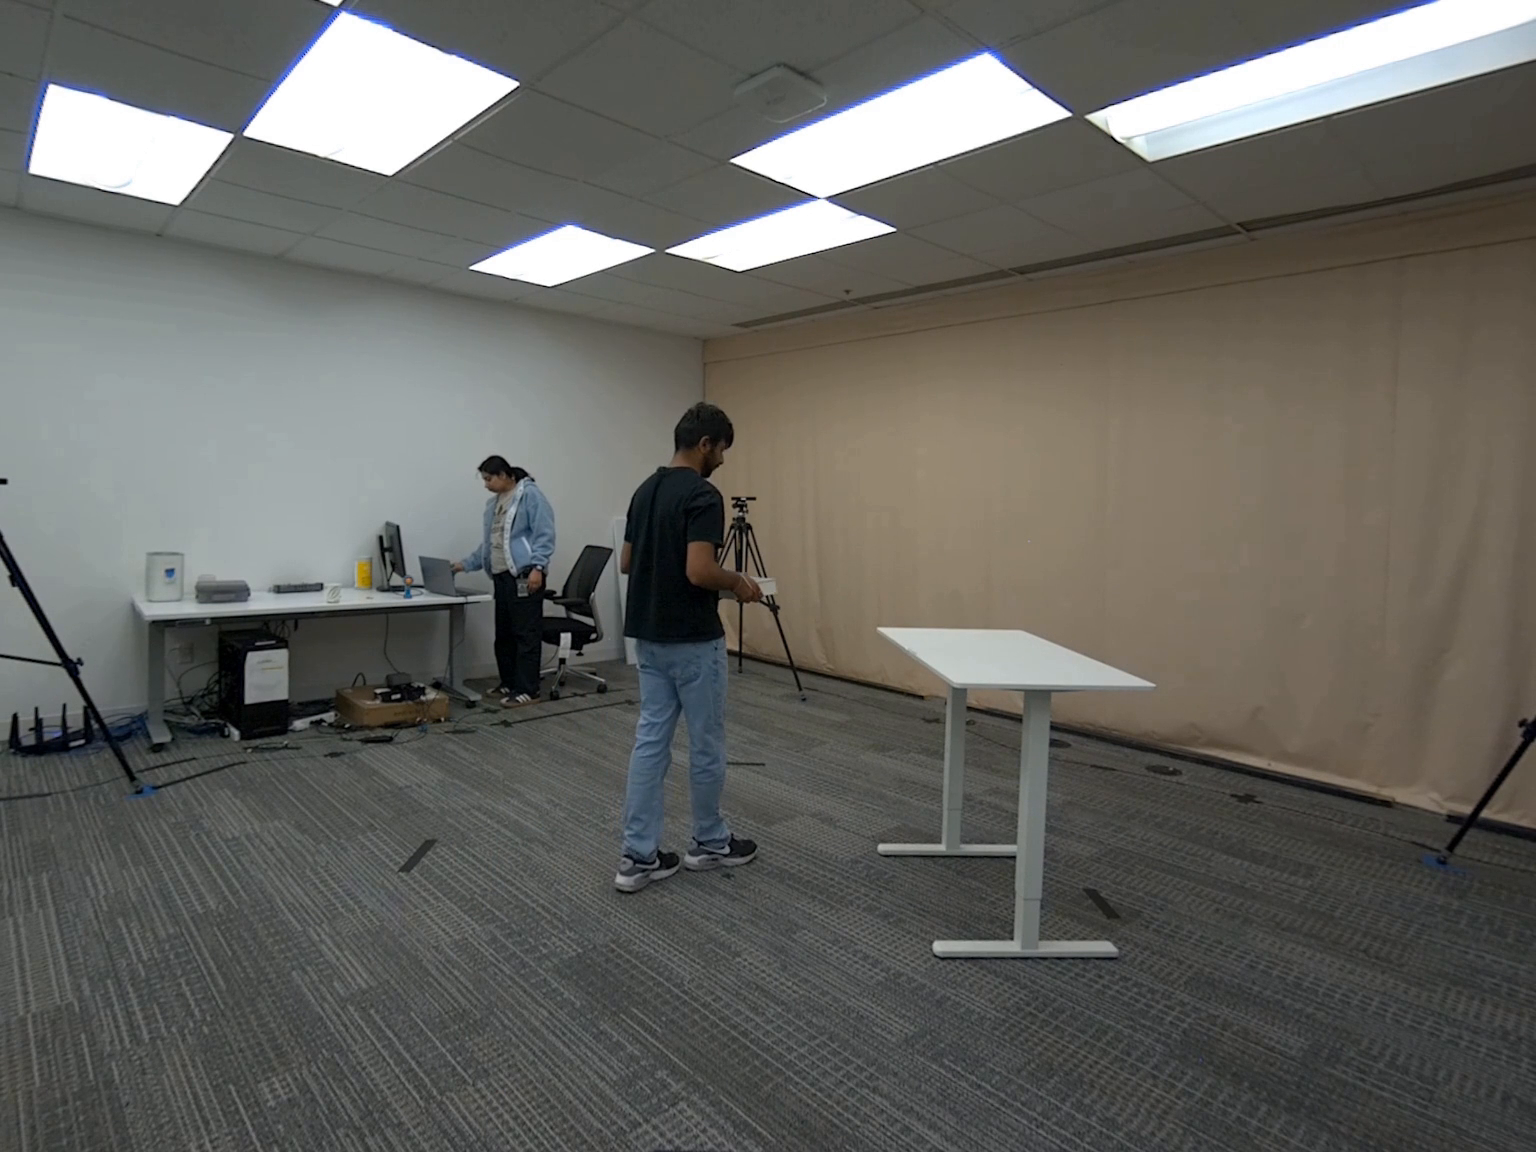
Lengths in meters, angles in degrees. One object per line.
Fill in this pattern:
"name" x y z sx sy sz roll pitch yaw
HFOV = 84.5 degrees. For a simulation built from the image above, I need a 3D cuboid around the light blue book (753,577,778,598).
"light blue book" -0.117 0.044 3.226 0.188 0.059 0.266 -7 7 -25
